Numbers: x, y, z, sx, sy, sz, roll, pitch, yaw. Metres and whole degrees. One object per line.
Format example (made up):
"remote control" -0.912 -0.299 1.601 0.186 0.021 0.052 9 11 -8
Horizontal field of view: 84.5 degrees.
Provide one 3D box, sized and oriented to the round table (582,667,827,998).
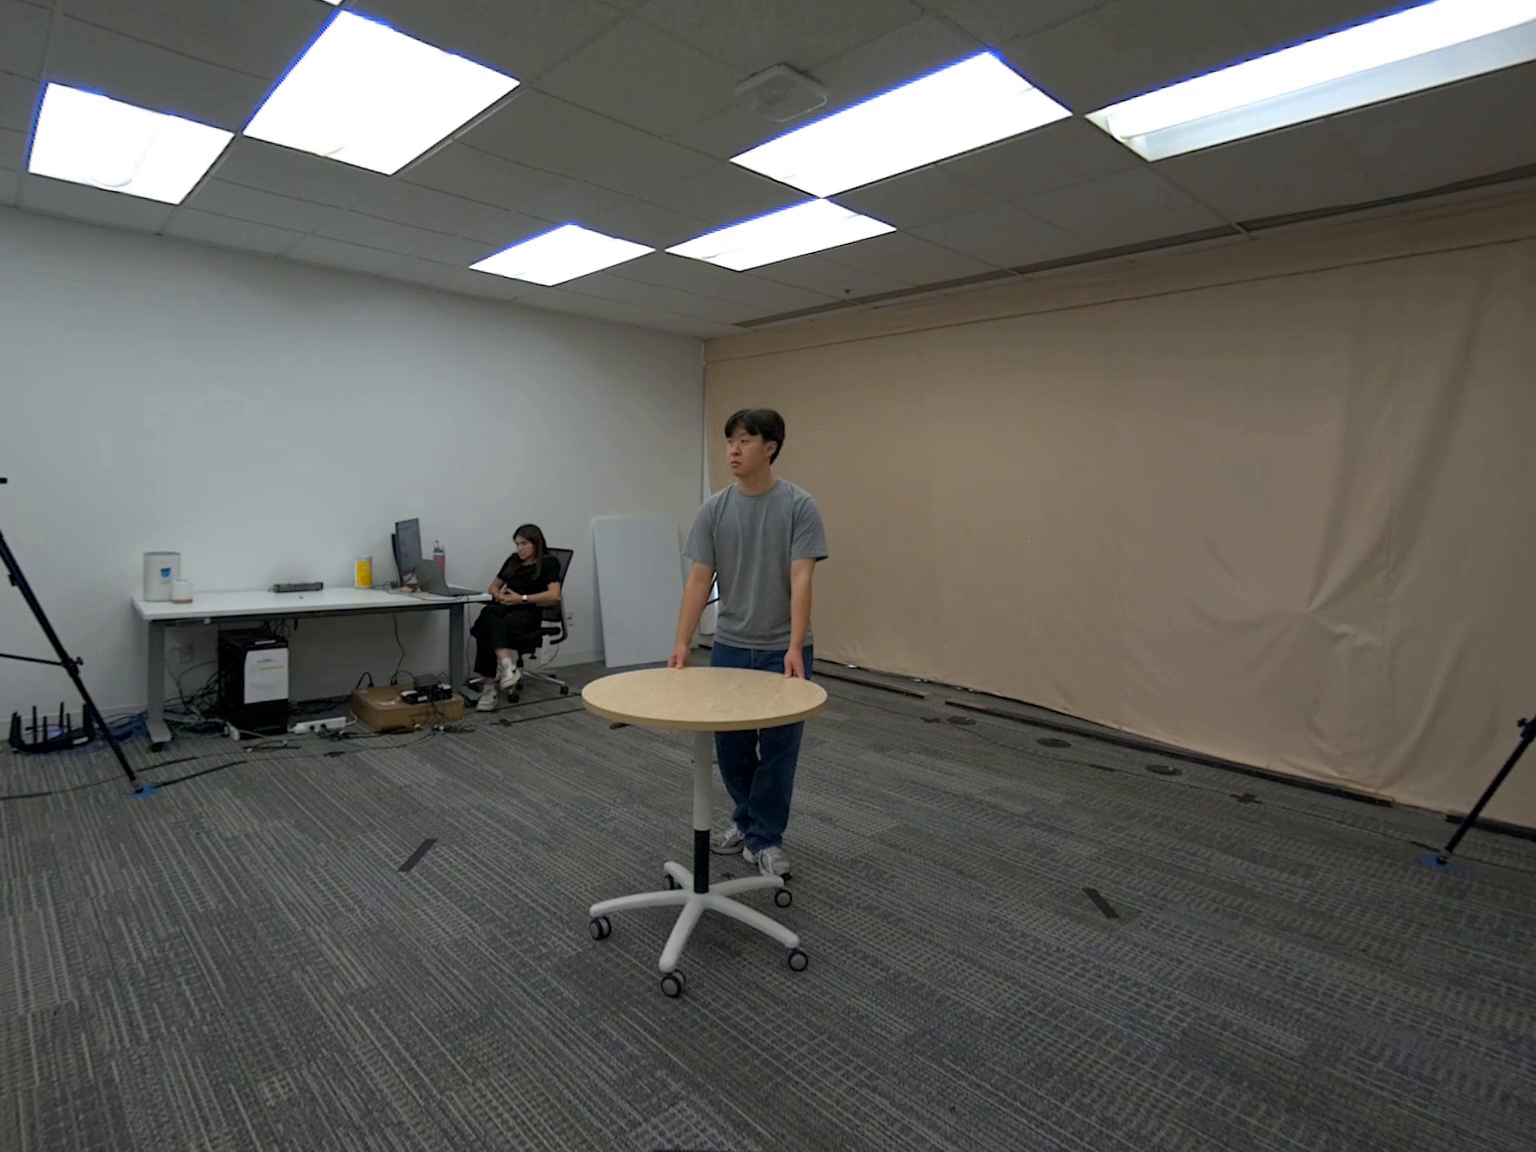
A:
"round table" -0.216 0.754 2.664 0.763 0.792 0.766 1 4 -1
